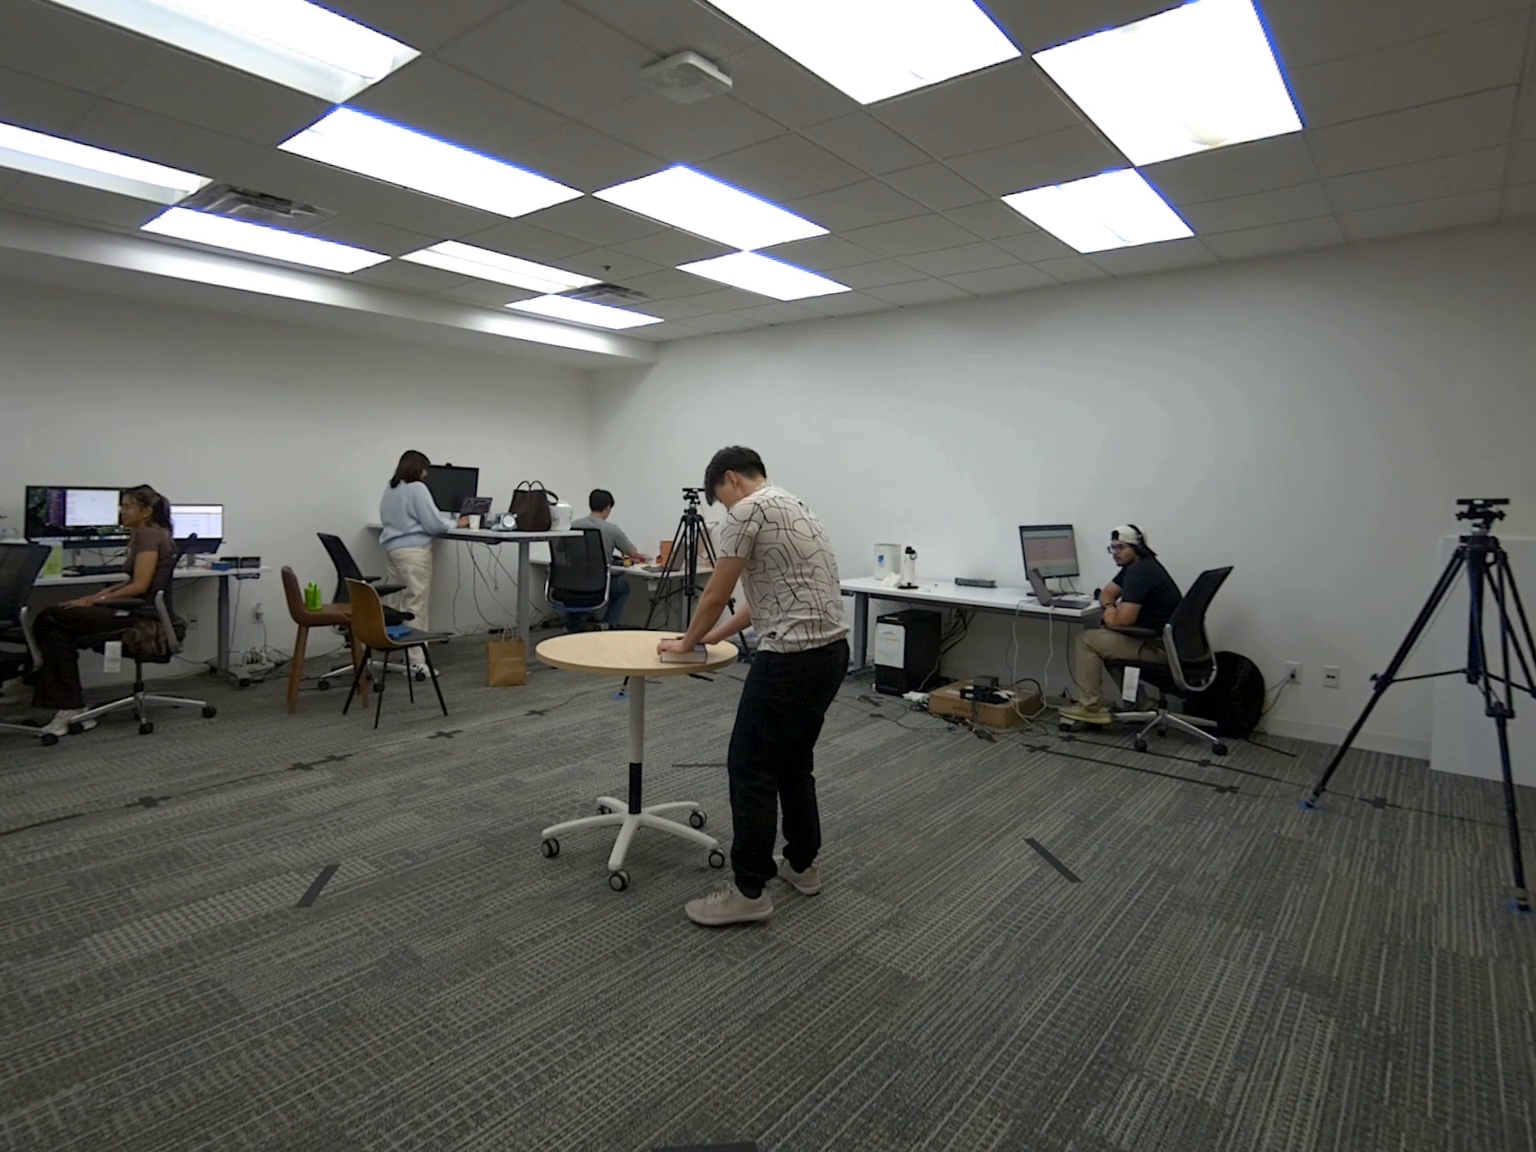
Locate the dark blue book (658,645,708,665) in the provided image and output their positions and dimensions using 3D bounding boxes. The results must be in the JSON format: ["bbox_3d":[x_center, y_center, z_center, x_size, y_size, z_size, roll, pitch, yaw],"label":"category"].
[{"bbox_3d":[-0.324,0.274,3.105,0.162,0.045,0.247,2,6,-6],"label":"dark blue book"}]
